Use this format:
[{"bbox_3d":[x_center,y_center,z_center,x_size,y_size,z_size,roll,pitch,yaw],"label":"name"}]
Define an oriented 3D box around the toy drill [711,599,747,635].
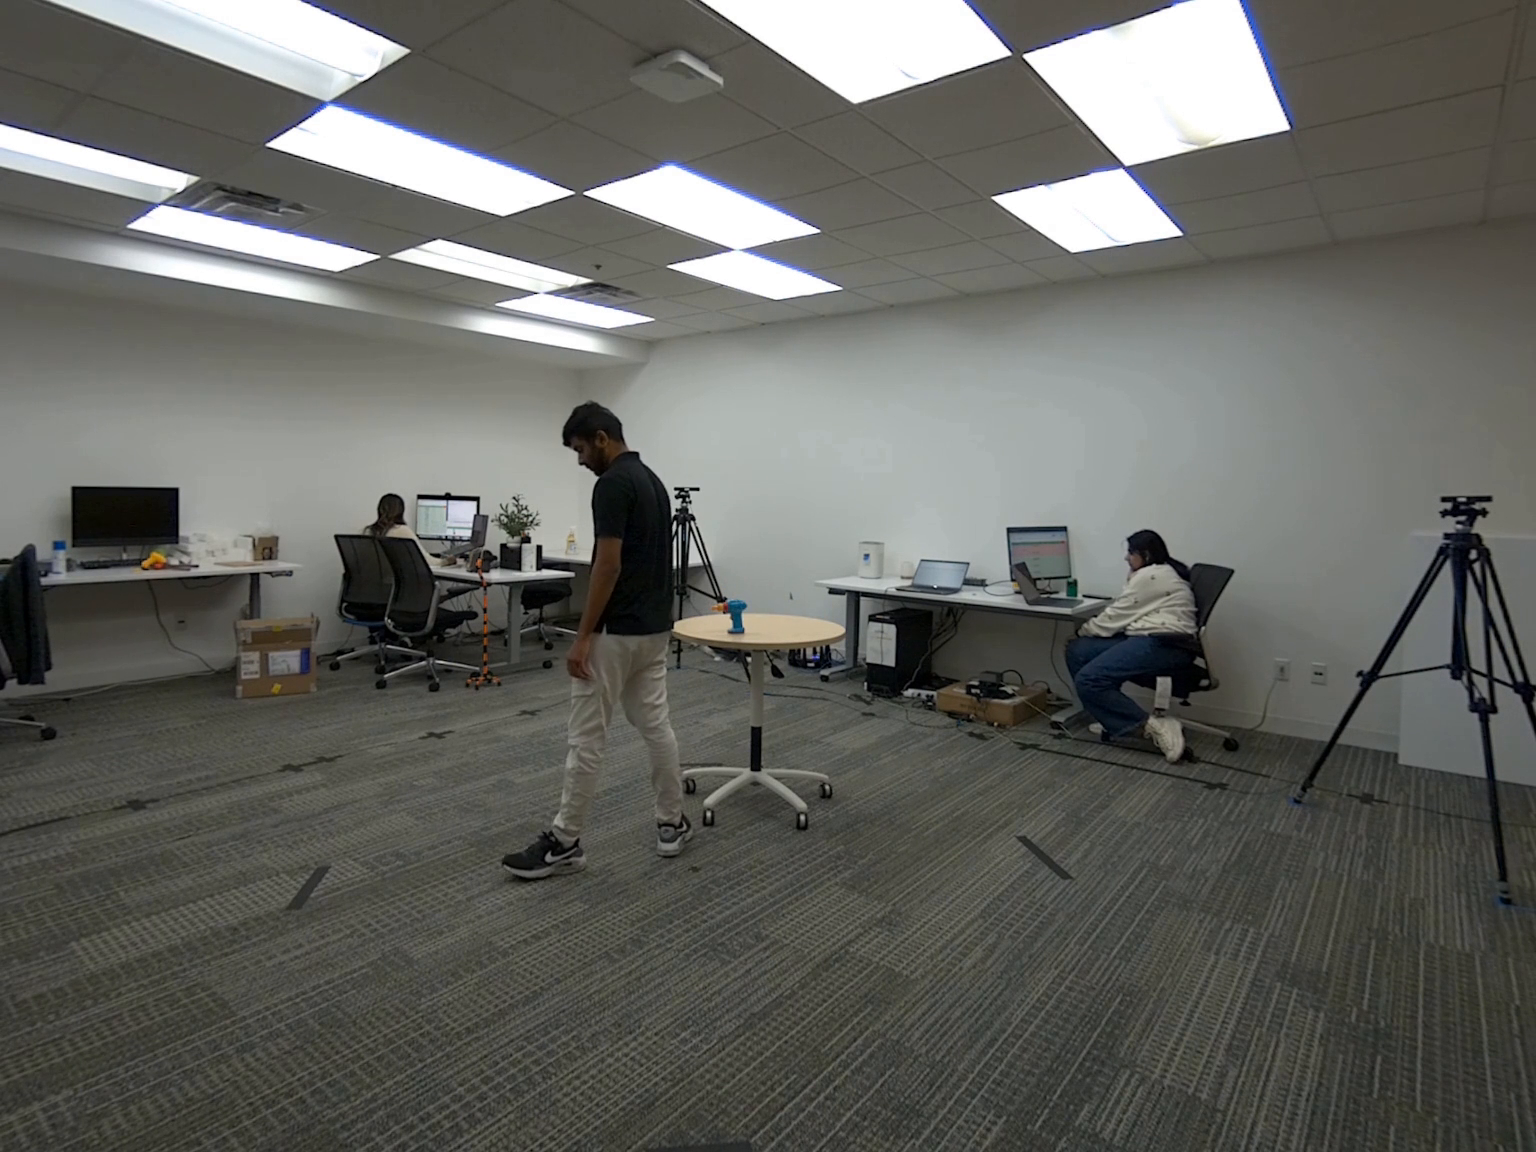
[{"bbox_3d":[-0.179,0.167,3.589,0.166,0.145,0.063,-1,4,-24],"label":"toy drill"}]
